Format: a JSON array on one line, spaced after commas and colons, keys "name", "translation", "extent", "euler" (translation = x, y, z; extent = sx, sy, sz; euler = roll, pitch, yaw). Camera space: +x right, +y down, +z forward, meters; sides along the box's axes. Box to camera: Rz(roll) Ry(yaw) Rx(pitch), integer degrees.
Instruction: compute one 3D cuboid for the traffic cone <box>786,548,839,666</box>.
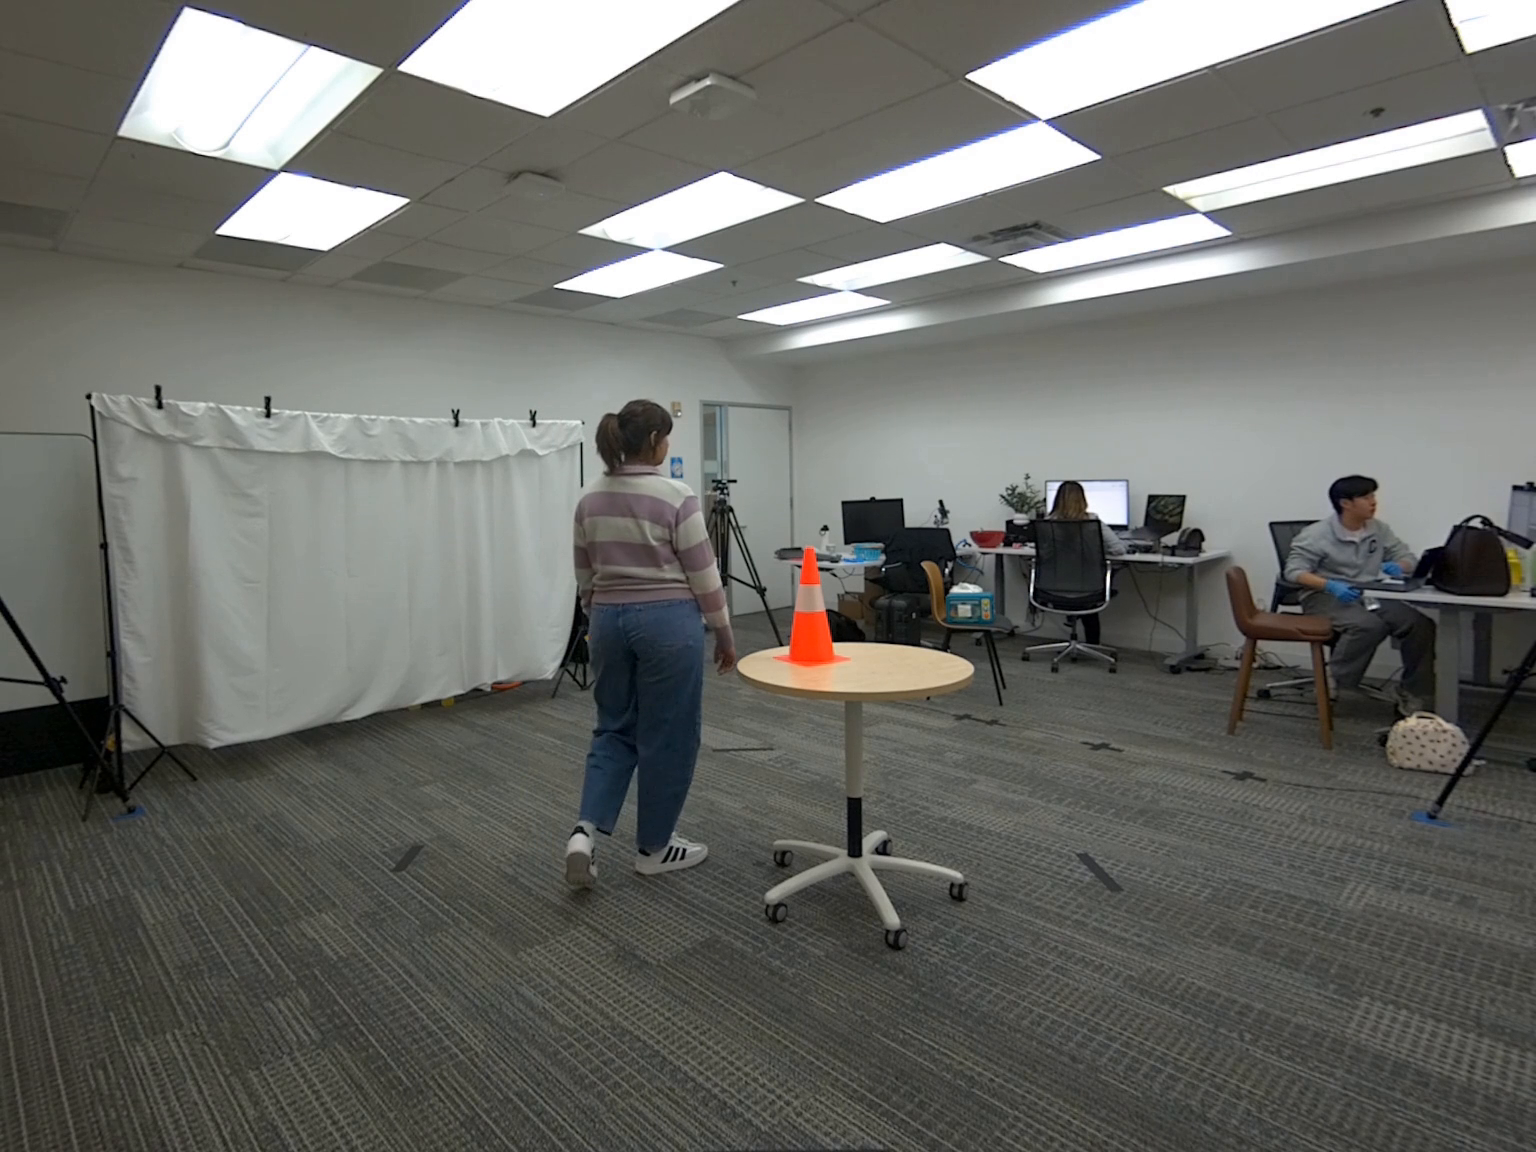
[{"name": "traffic cone", "translation": [0.144, 0.096, 2.897], "extent": [0.210, 0.382, 0.199], "euler": [2, 6, 29]}]
